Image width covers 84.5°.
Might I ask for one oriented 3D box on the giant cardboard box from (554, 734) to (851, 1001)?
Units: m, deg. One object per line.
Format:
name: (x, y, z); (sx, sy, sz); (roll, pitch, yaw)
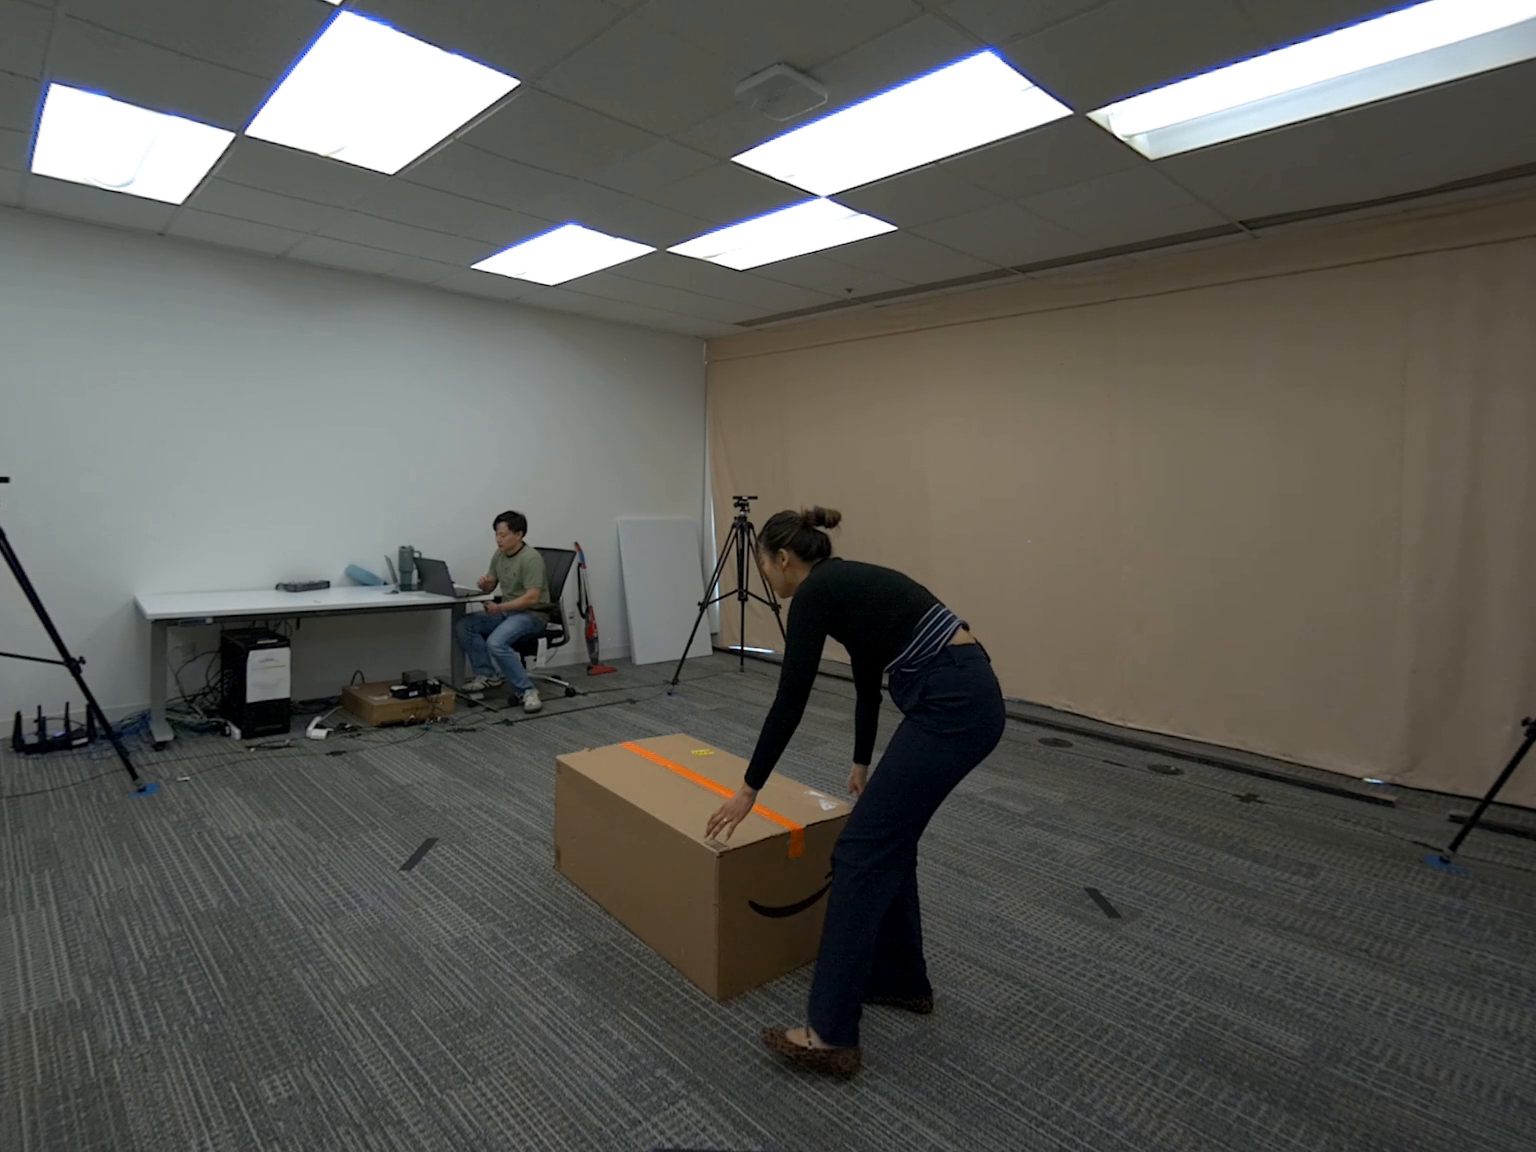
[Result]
giant cardboard box: (-0.252, 0.908, 2.879); (0.564, 0.425, 1.052); (-1, 6, -38)
